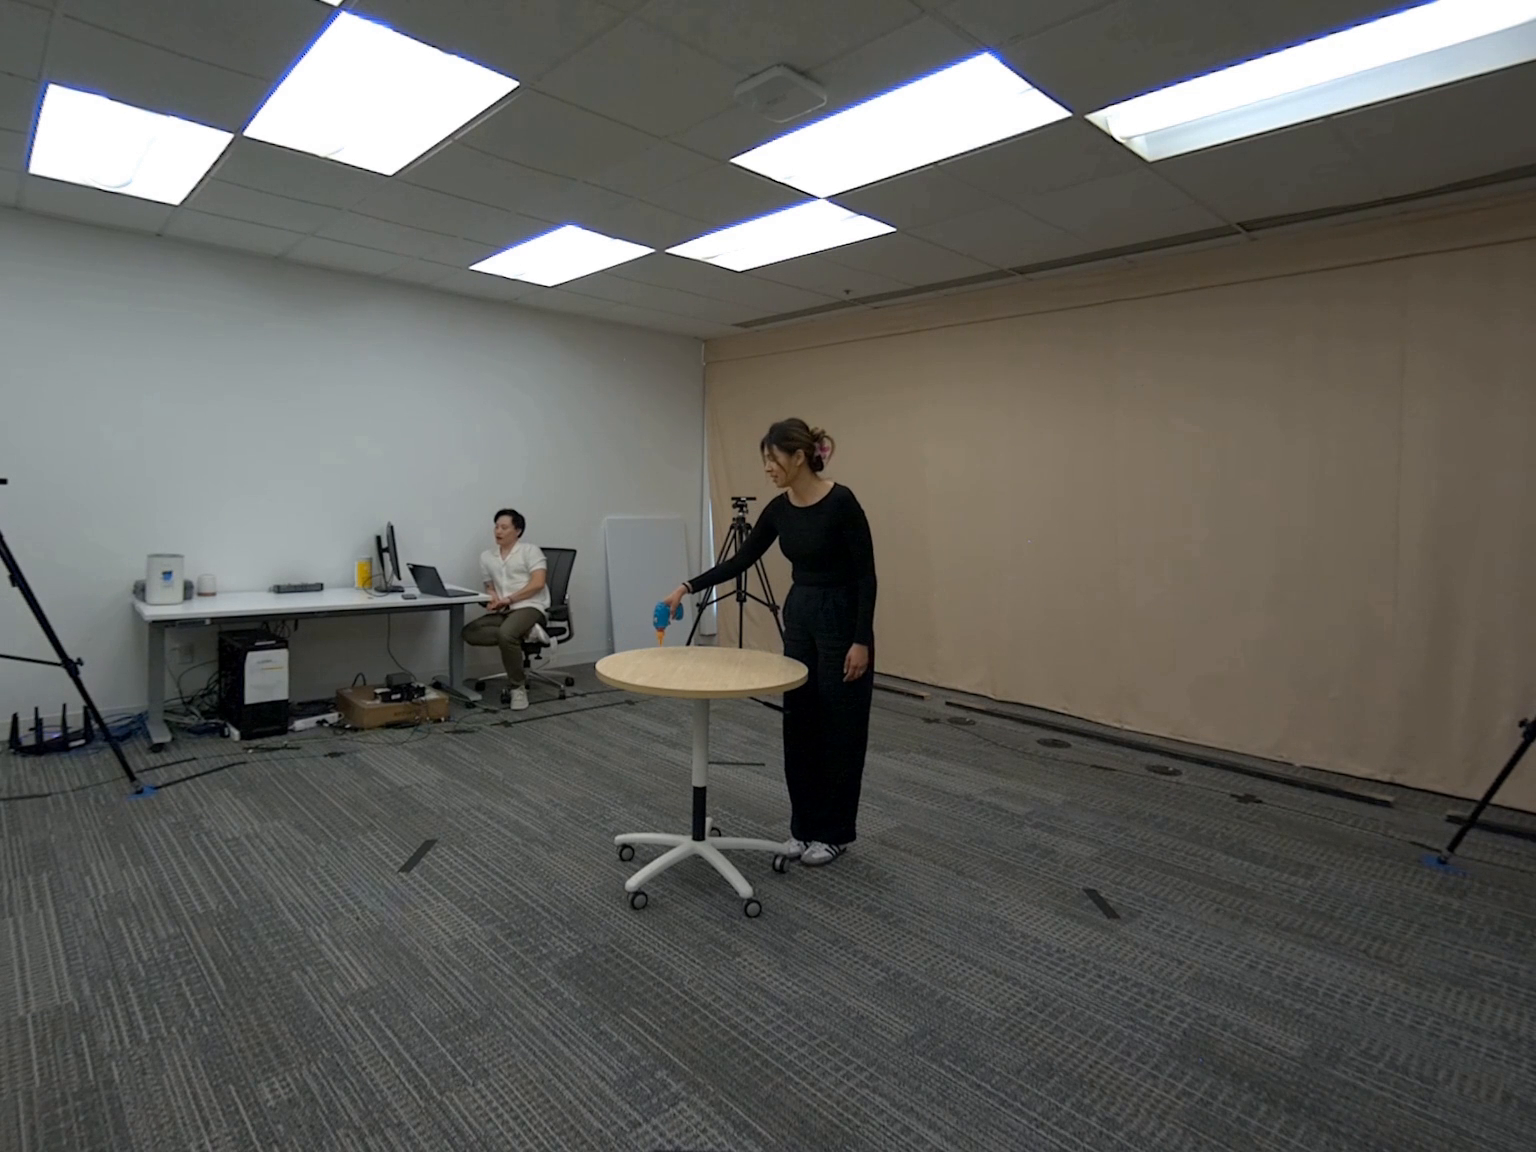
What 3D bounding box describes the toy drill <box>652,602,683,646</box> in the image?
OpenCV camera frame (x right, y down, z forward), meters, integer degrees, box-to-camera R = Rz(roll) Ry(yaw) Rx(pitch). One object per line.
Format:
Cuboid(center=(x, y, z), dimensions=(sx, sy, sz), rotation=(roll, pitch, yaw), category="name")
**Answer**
Cuboid(center=(-0.402, 0.182, 3.309), dimensions=(0.062, 0.169, 0.143), rotation=(3, 4, 34), category="toy drill")
